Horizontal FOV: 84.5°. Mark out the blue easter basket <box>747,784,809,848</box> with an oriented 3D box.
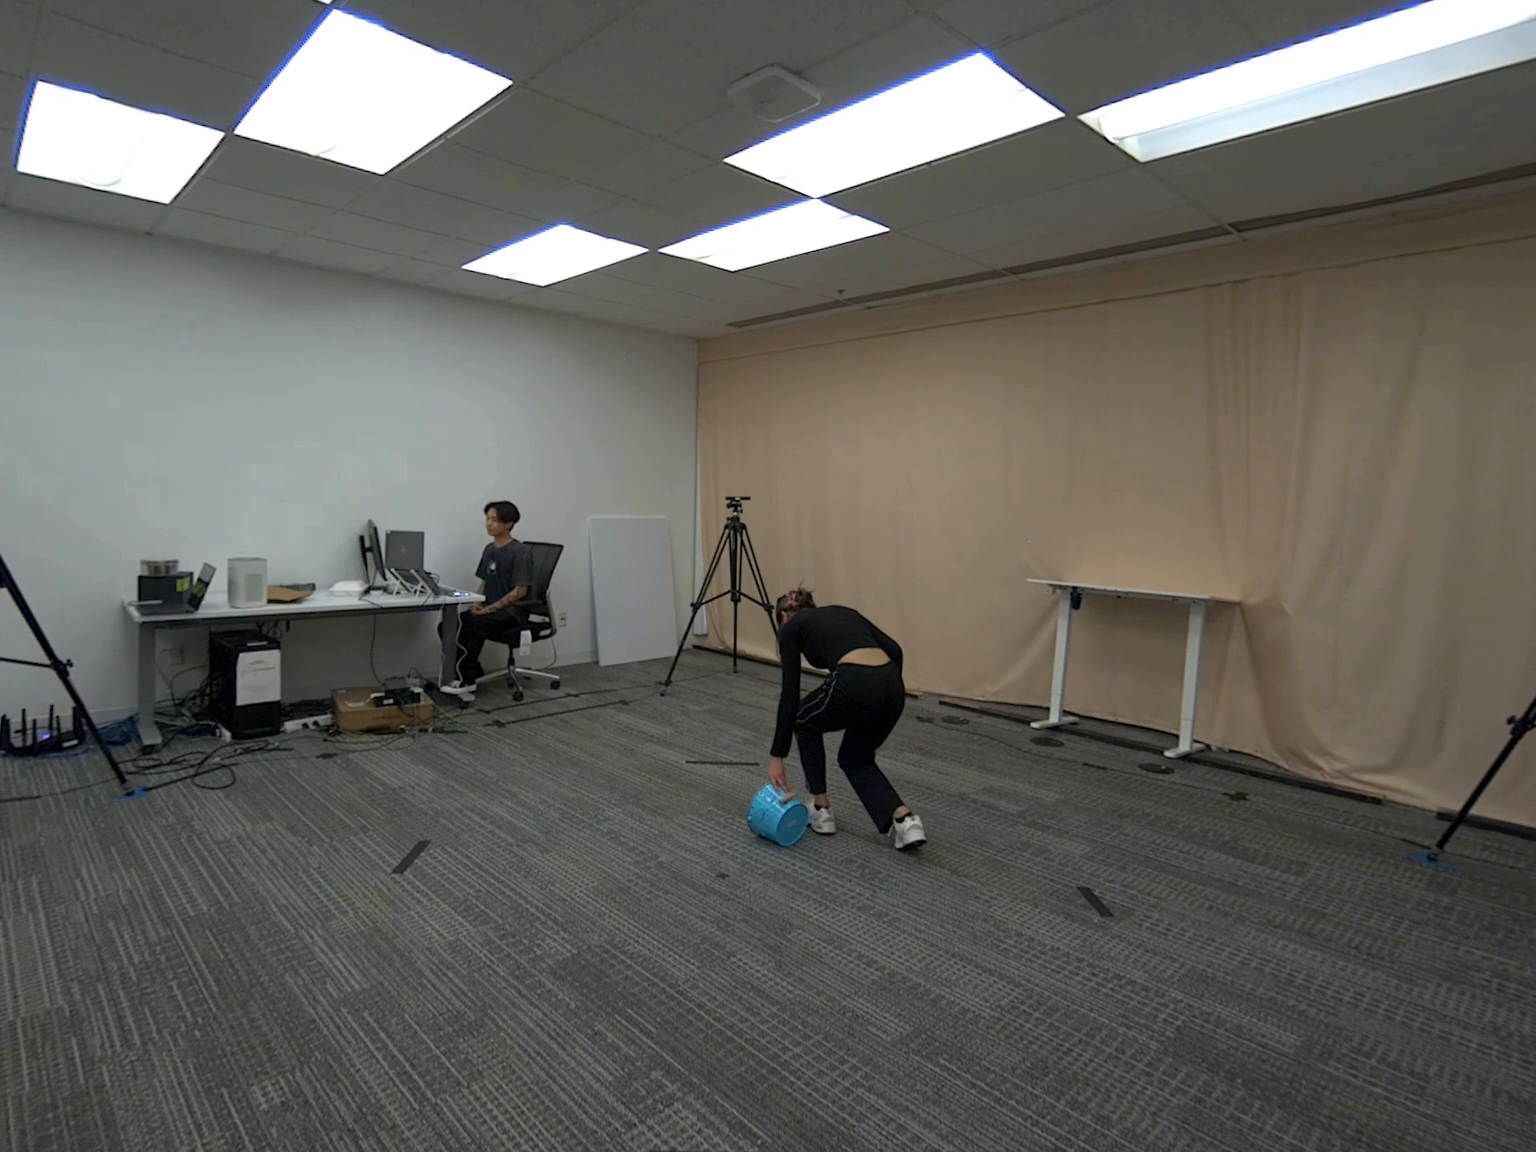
[{"bbox_3d":[0.033,0.973,3.436,0.238,0.242,0.160,-2,15,-42],"label":"blue easter basket"}]
